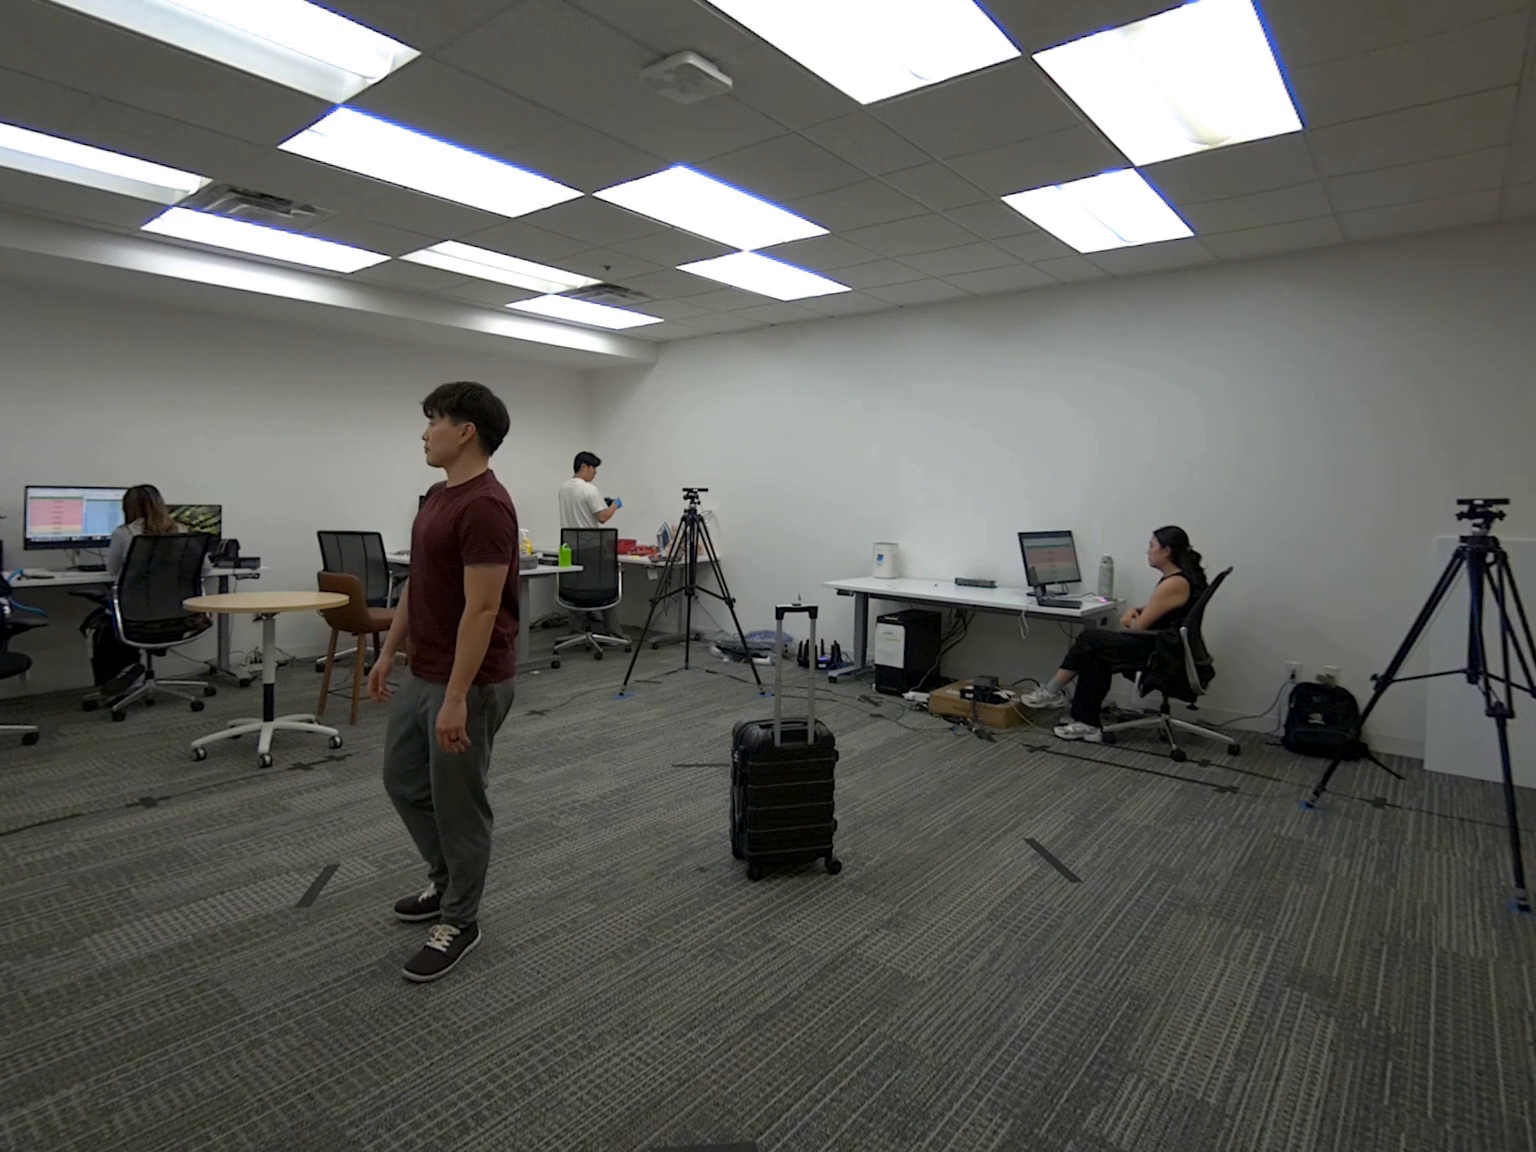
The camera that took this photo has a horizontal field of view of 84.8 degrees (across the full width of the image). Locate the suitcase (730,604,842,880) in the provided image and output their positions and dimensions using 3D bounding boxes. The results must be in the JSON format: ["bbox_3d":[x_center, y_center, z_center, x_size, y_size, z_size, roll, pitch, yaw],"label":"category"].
[{"bbox_3d":[0.048,0.592,3.143,0.377,0.978,0.261,1,0,-17],"label":"suitcase"}]
